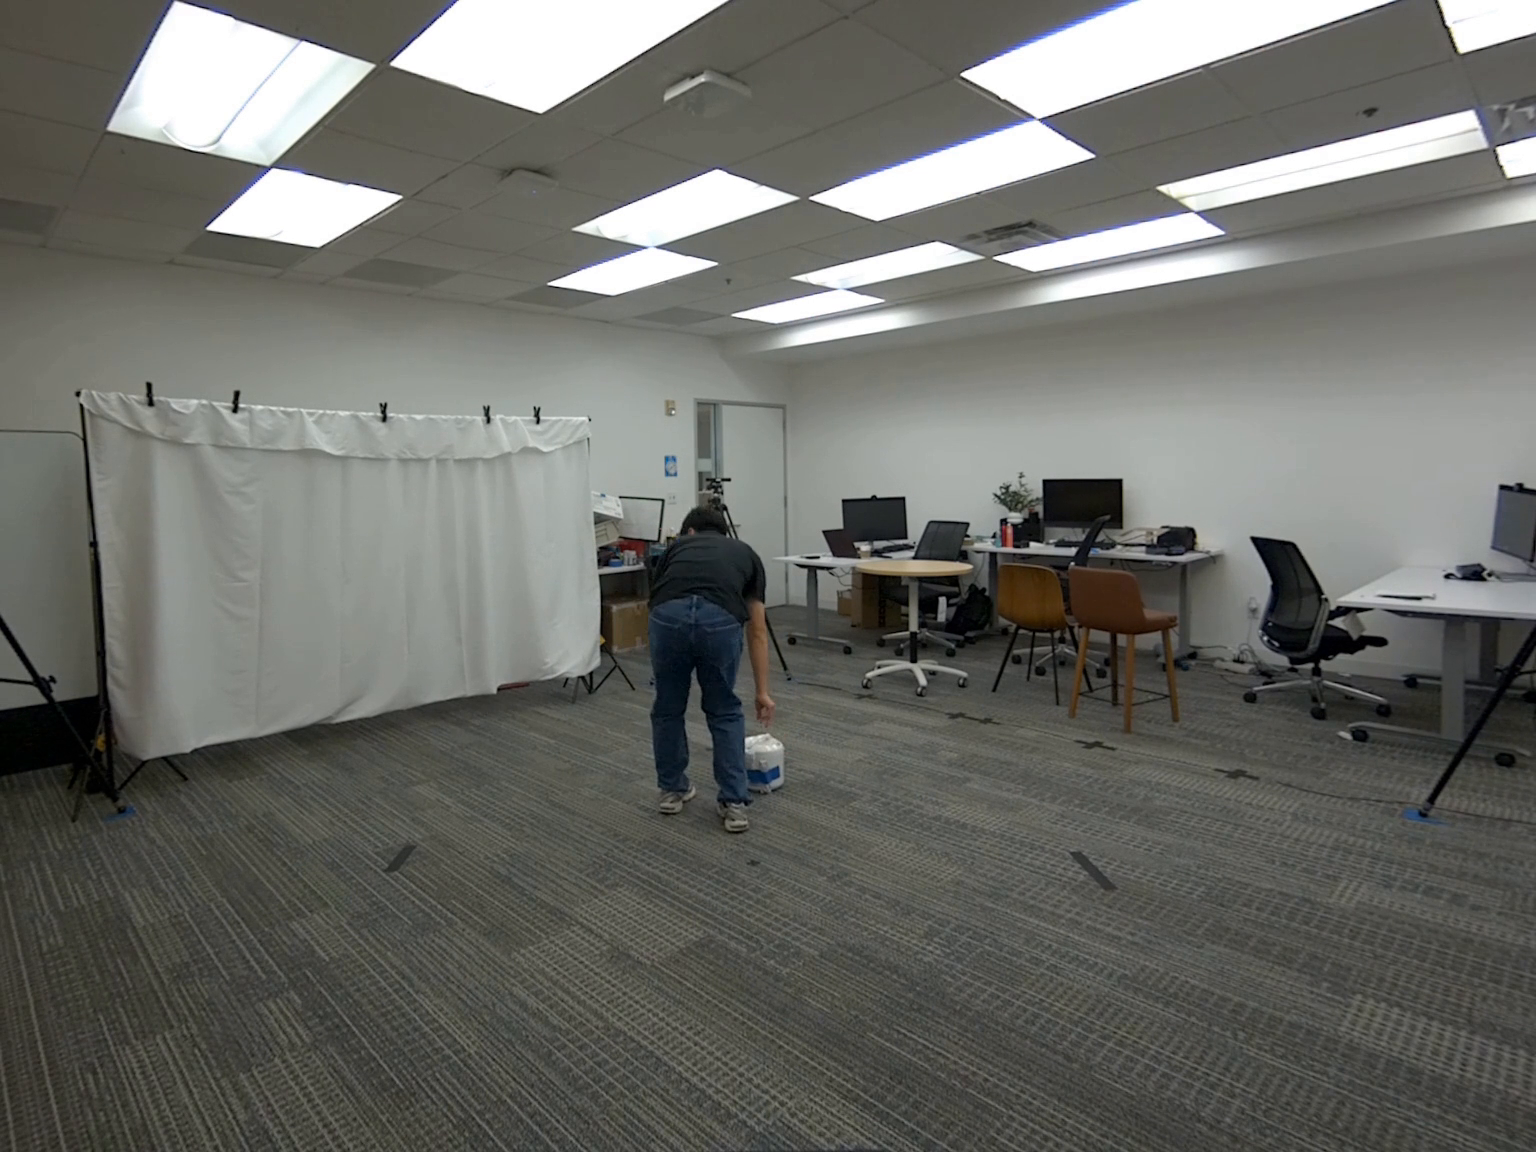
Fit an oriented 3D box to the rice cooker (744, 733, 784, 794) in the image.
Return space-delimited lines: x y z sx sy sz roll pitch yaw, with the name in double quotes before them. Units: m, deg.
"rice cooker" -0.032 0.839 3.881 0.224 0.232 0.215 3 6 36
